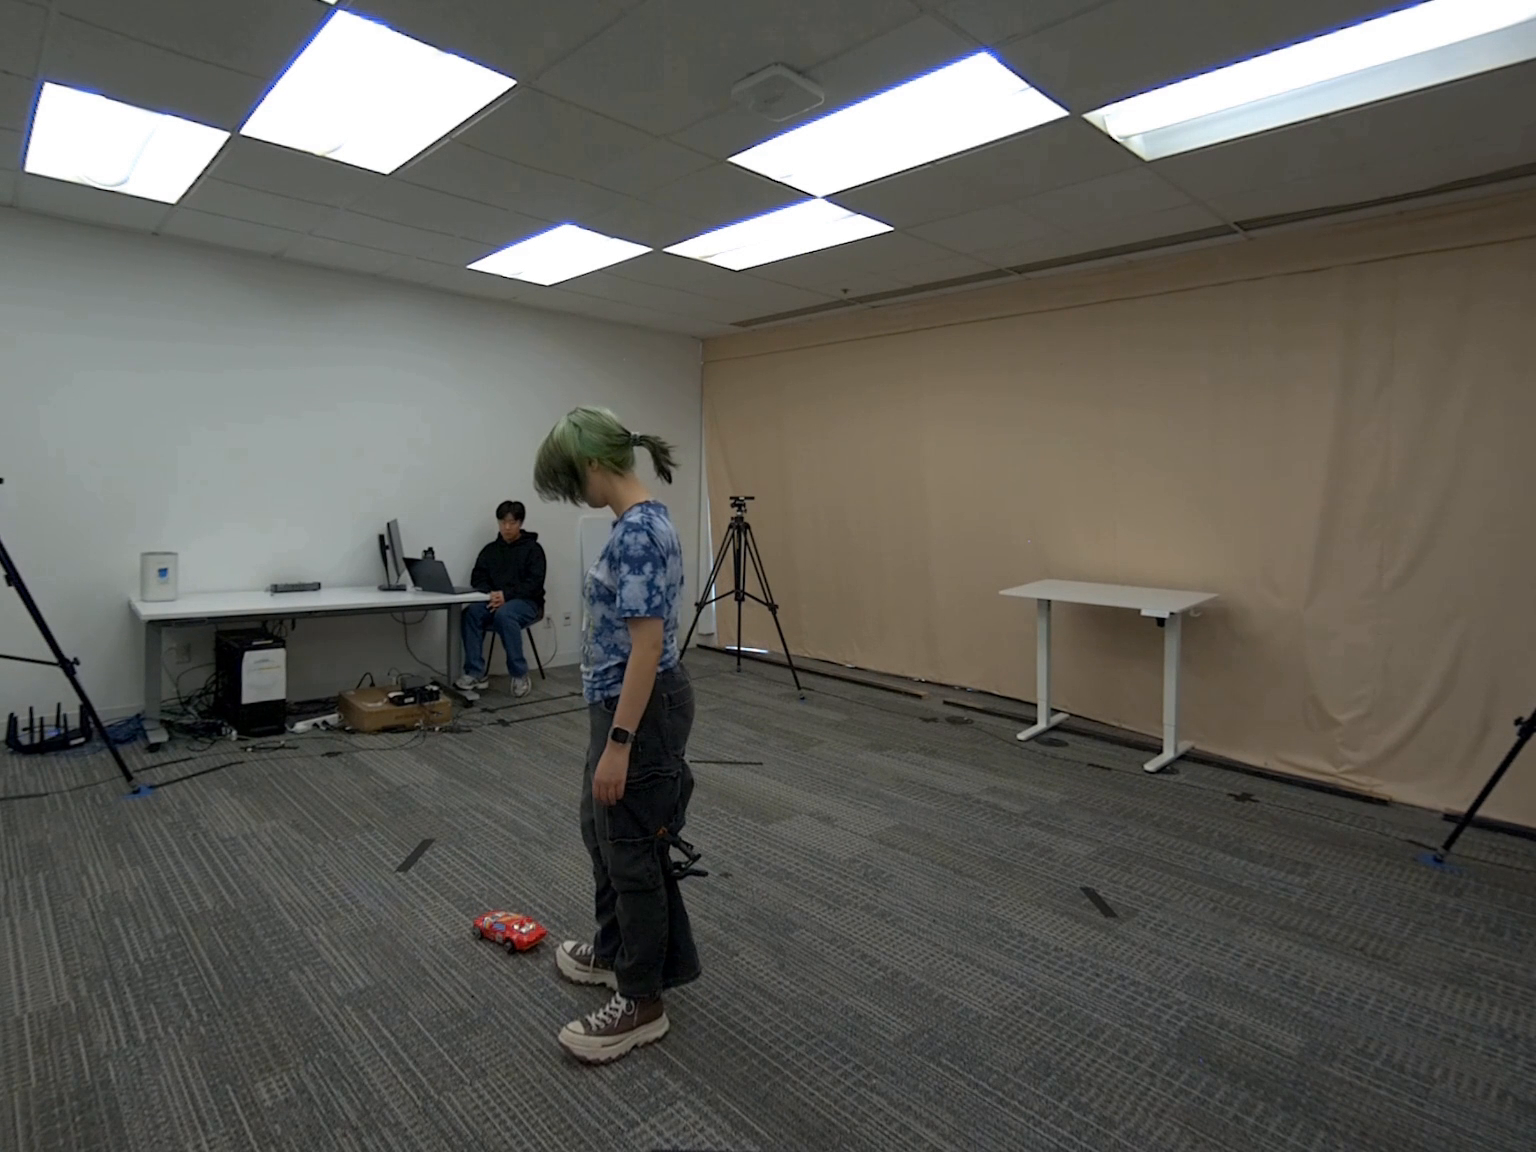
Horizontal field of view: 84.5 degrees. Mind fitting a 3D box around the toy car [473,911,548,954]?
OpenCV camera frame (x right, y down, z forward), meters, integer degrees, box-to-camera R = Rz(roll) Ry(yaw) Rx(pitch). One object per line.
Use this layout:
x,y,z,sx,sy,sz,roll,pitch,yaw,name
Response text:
-0.804,1.105,2.606,0.259,0.083,0.127,-8,-2,33,toy car
